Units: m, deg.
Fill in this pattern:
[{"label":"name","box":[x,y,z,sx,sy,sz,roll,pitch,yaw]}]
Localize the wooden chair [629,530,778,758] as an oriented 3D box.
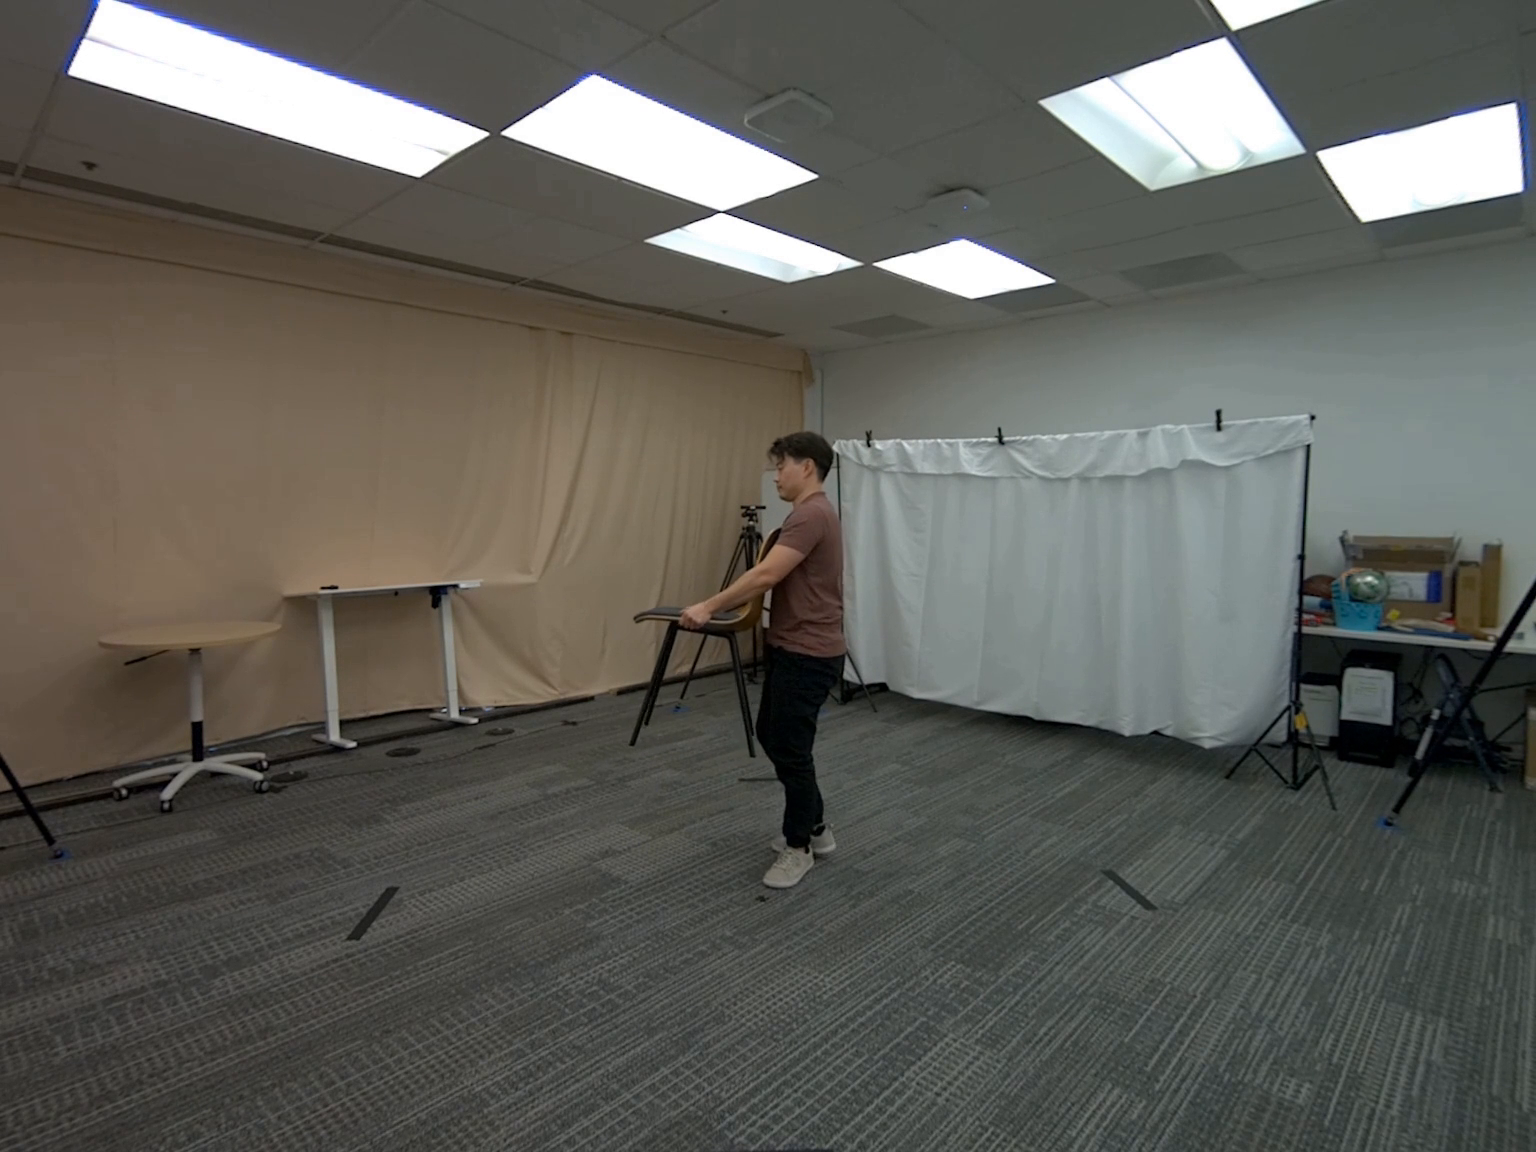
[{"label":"wooden chair","box":[-0.256,0.220,3.248,0.524,0.878,0.477,9,-2,0]}]
